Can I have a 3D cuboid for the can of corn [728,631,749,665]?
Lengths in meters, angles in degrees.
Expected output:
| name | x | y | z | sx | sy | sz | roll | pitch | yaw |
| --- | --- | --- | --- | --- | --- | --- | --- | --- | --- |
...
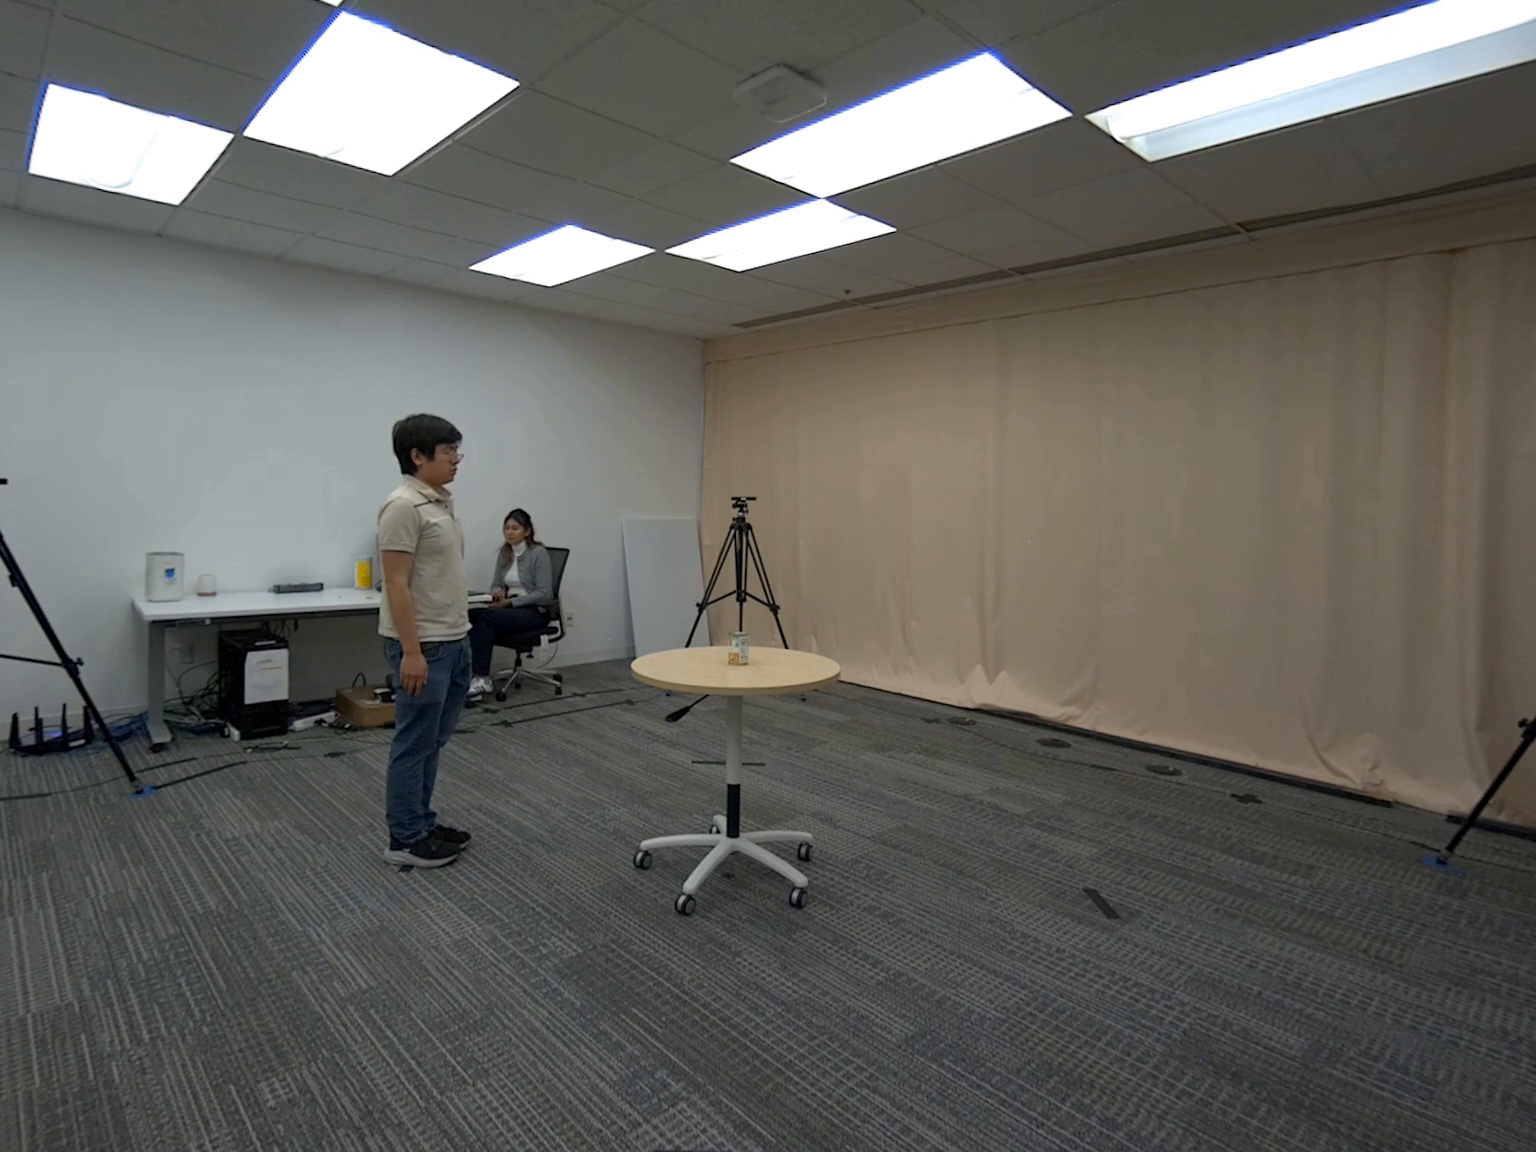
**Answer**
| name | x | y | z | sx | sy | sz | roll | pitch | yaw |
| --- | --- | --- | --- | --- | --- | --- | --- | --- | --- |
| can of corn | -0.118 | 0.265 | 3.104 | 0.074 | 0.110 | 0.074 | 0 | 6 | -1 |
